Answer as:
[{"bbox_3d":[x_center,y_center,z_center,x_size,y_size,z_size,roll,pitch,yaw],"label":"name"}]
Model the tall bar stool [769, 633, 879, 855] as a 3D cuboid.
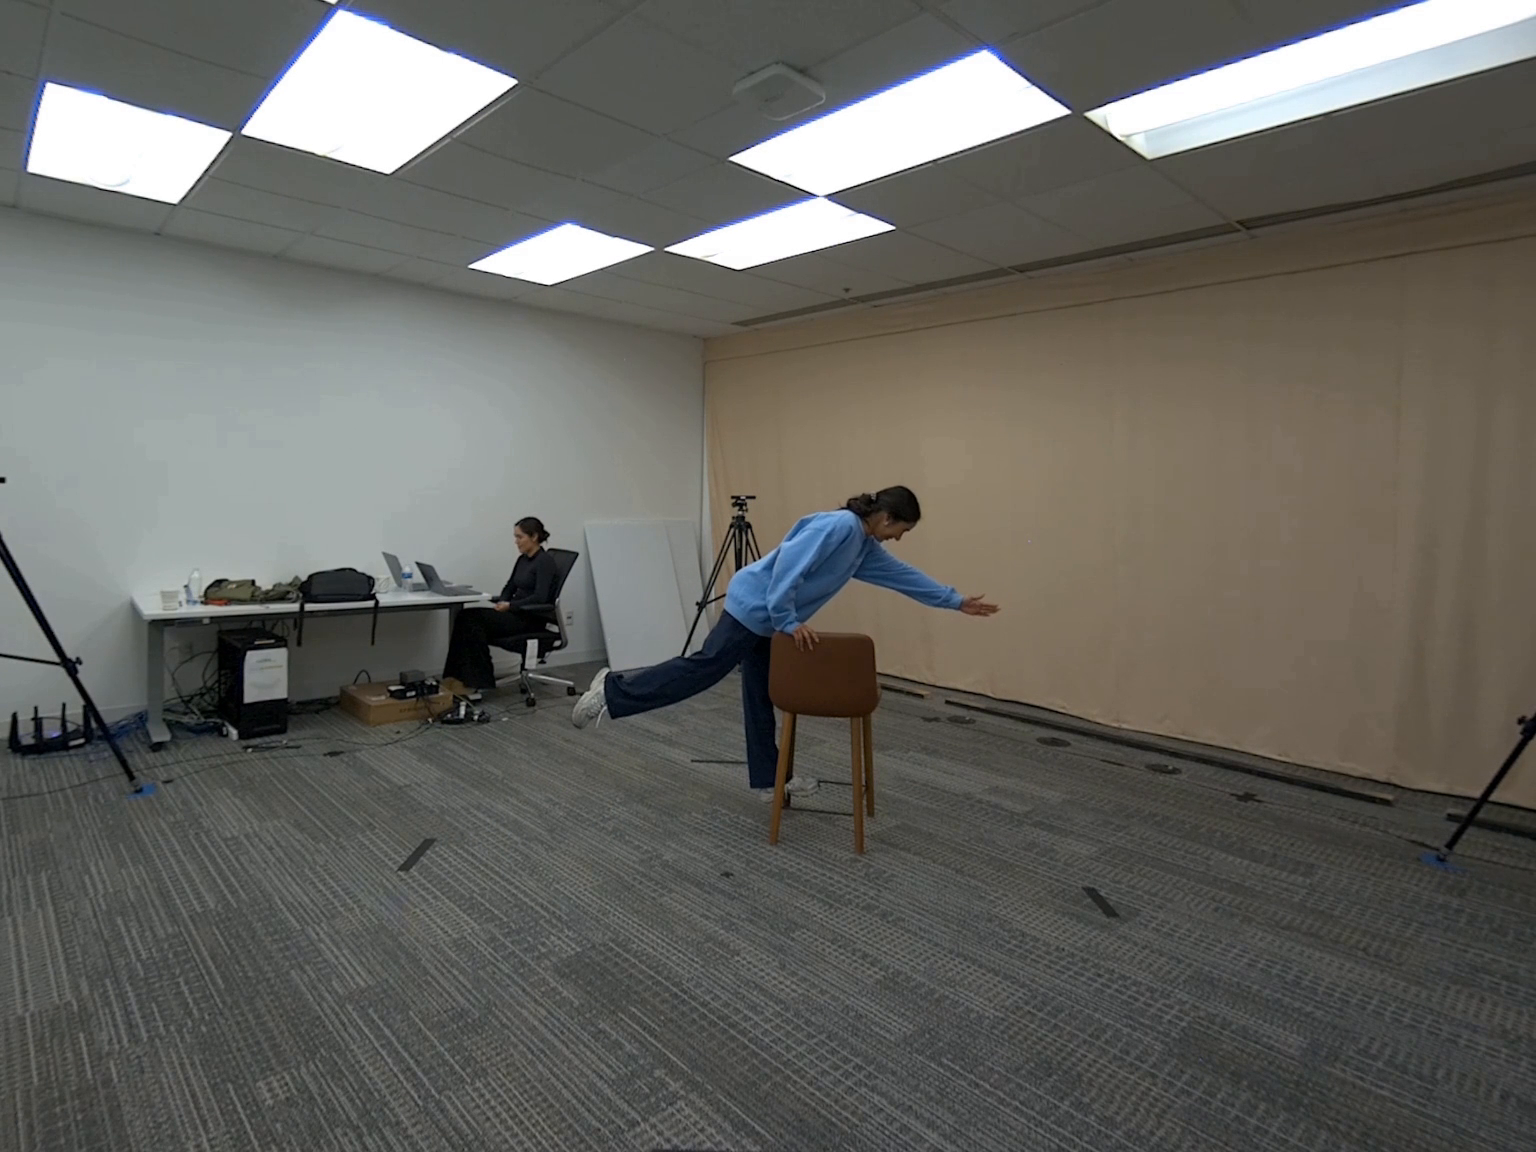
[{"bbox_3d":[0.239,0.638,3.543,0.461,0.887,0.464,2,5,13],"label":"tall bar stool"}]
